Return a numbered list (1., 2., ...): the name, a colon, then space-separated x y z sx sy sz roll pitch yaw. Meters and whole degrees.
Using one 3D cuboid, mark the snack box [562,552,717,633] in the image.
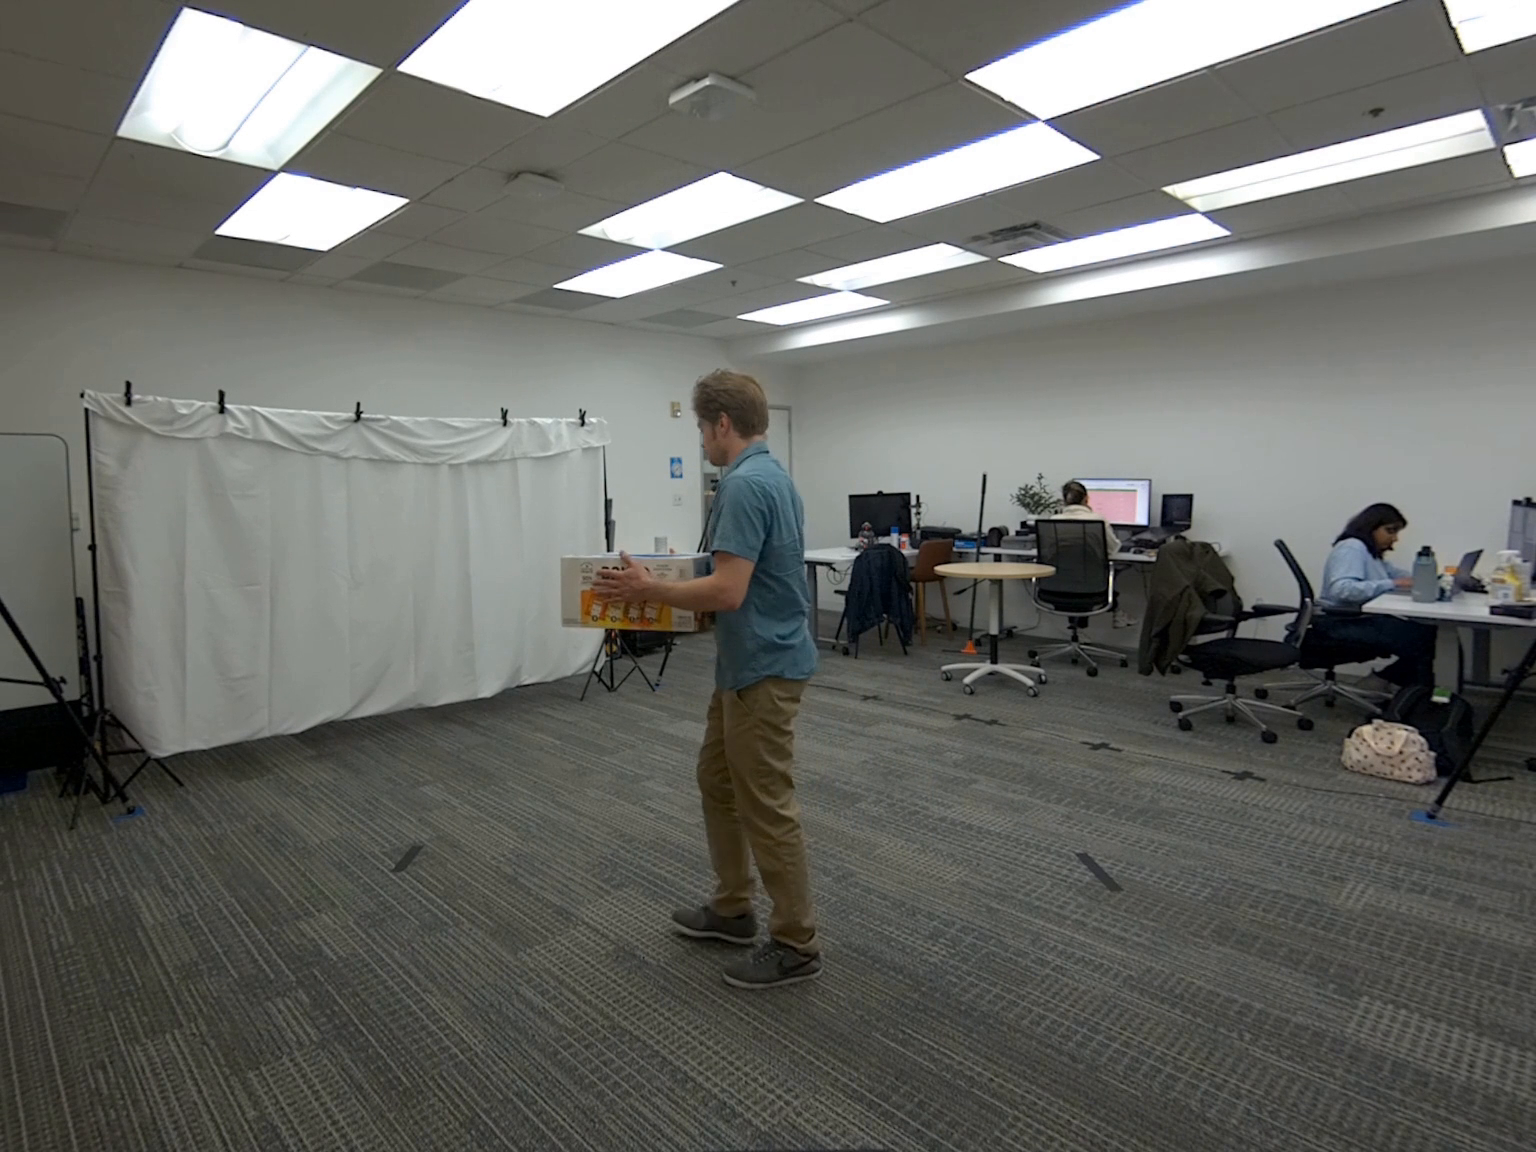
1. snack box: -0.341 0.036 2.524 0.412 0.205 0.335 0 3 18
